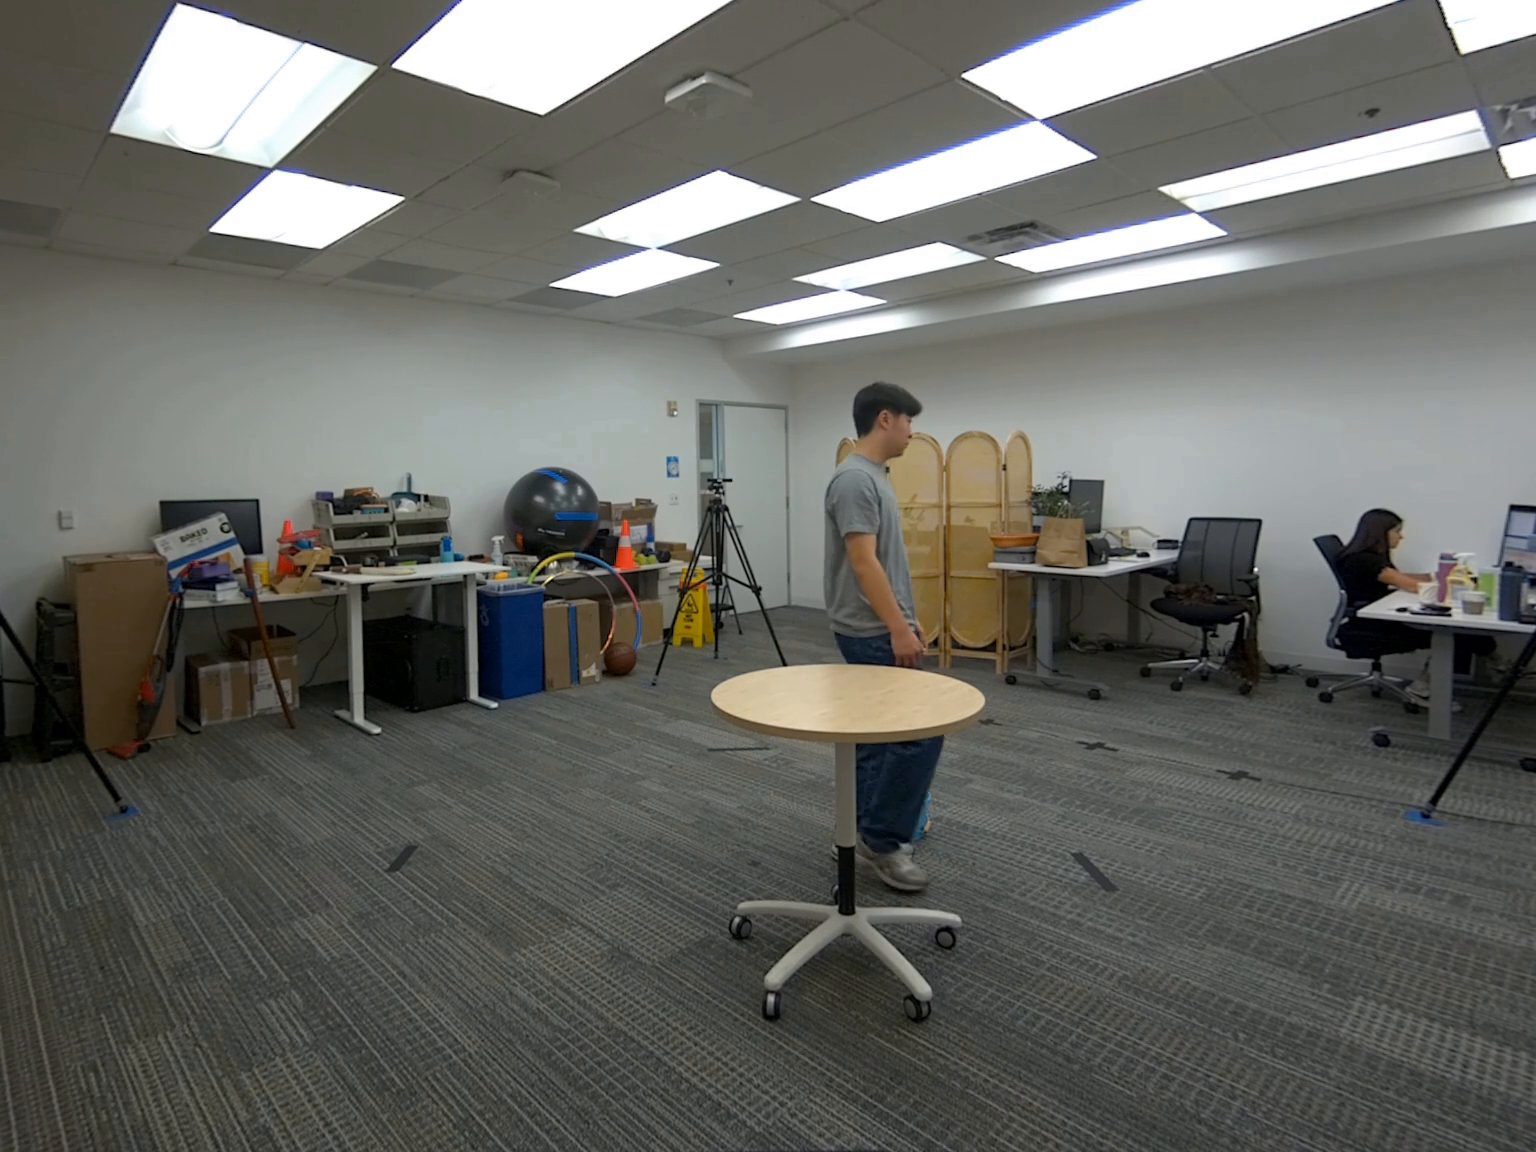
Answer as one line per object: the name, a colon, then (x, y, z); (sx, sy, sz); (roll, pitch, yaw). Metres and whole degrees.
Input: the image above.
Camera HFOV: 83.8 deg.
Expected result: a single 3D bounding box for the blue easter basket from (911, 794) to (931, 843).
blue easter basket: (0.529, 0.930, 3.353); (0.243, 0.155, 0.244); (-2, 4, -2)
